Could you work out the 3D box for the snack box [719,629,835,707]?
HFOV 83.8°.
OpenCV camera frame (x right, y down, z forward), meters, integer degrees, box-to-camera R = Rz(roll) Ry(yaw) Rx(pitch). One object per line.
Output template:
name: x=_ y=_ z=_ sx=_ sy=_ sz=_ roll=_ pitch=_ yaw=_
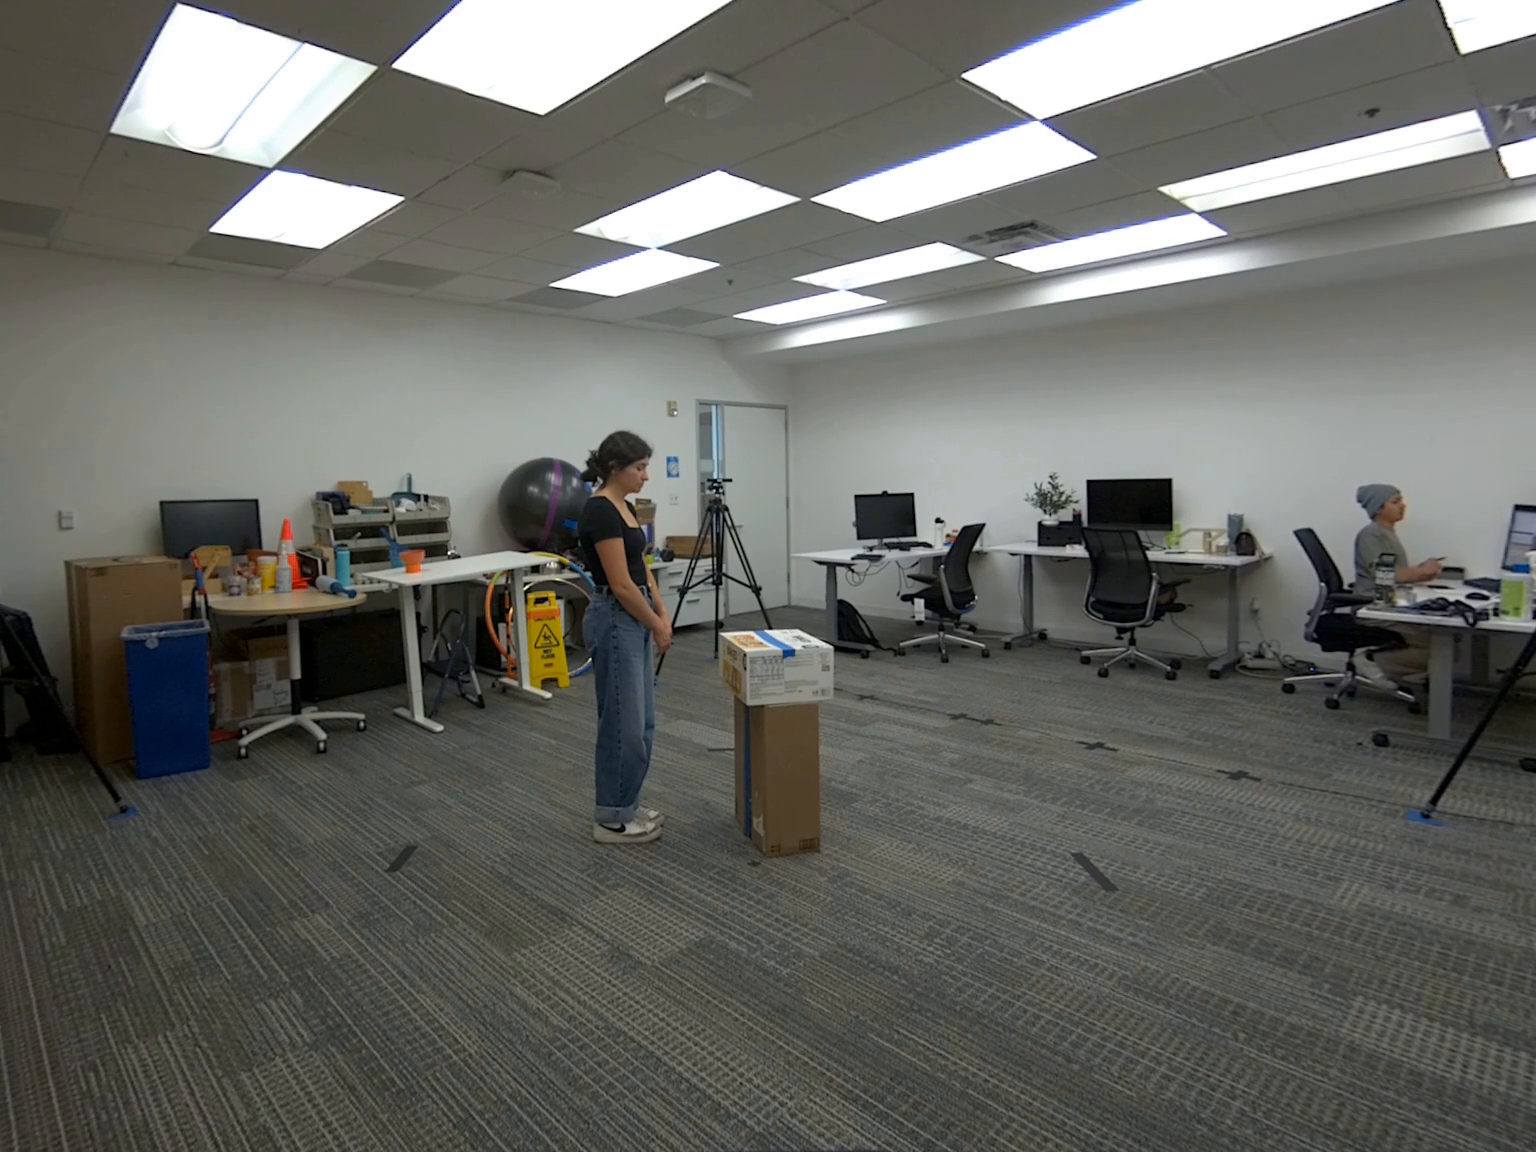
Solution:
snack box: x=0.021 y=0.346 z=3.338 sx=0.335 sy=0.205 sz=0.413 roll=-2 pitch=6 yaw=-16
